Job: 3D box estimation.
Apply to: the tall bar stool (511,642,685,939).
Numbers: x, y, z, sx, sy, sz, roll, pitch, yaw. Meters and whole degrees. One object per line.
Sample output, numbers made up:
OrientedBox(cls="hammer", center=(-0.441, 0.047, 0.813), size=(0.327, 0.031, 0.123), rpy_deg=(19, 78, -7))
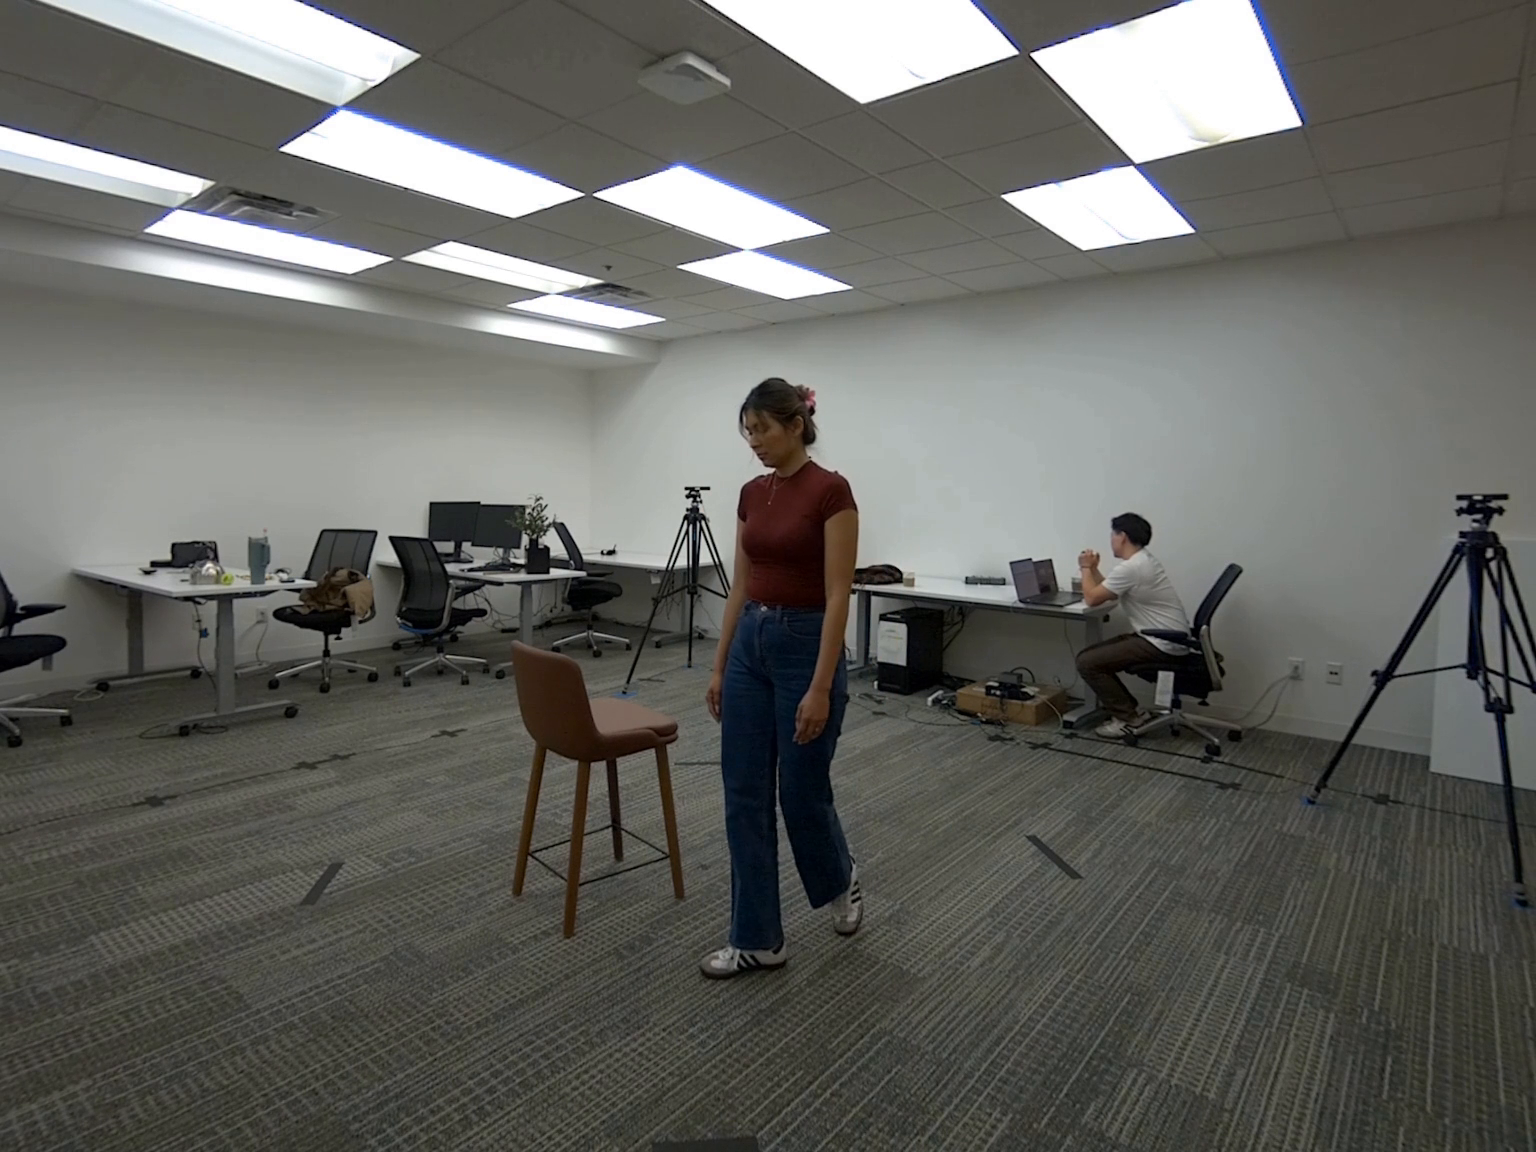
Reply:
OrientedBox(cls="tall bar stool", center=(-0.593, 0.649, 2.869), size=(0.454, 0.886, 0.472), rpy_deg=(-5, 6, -42))
